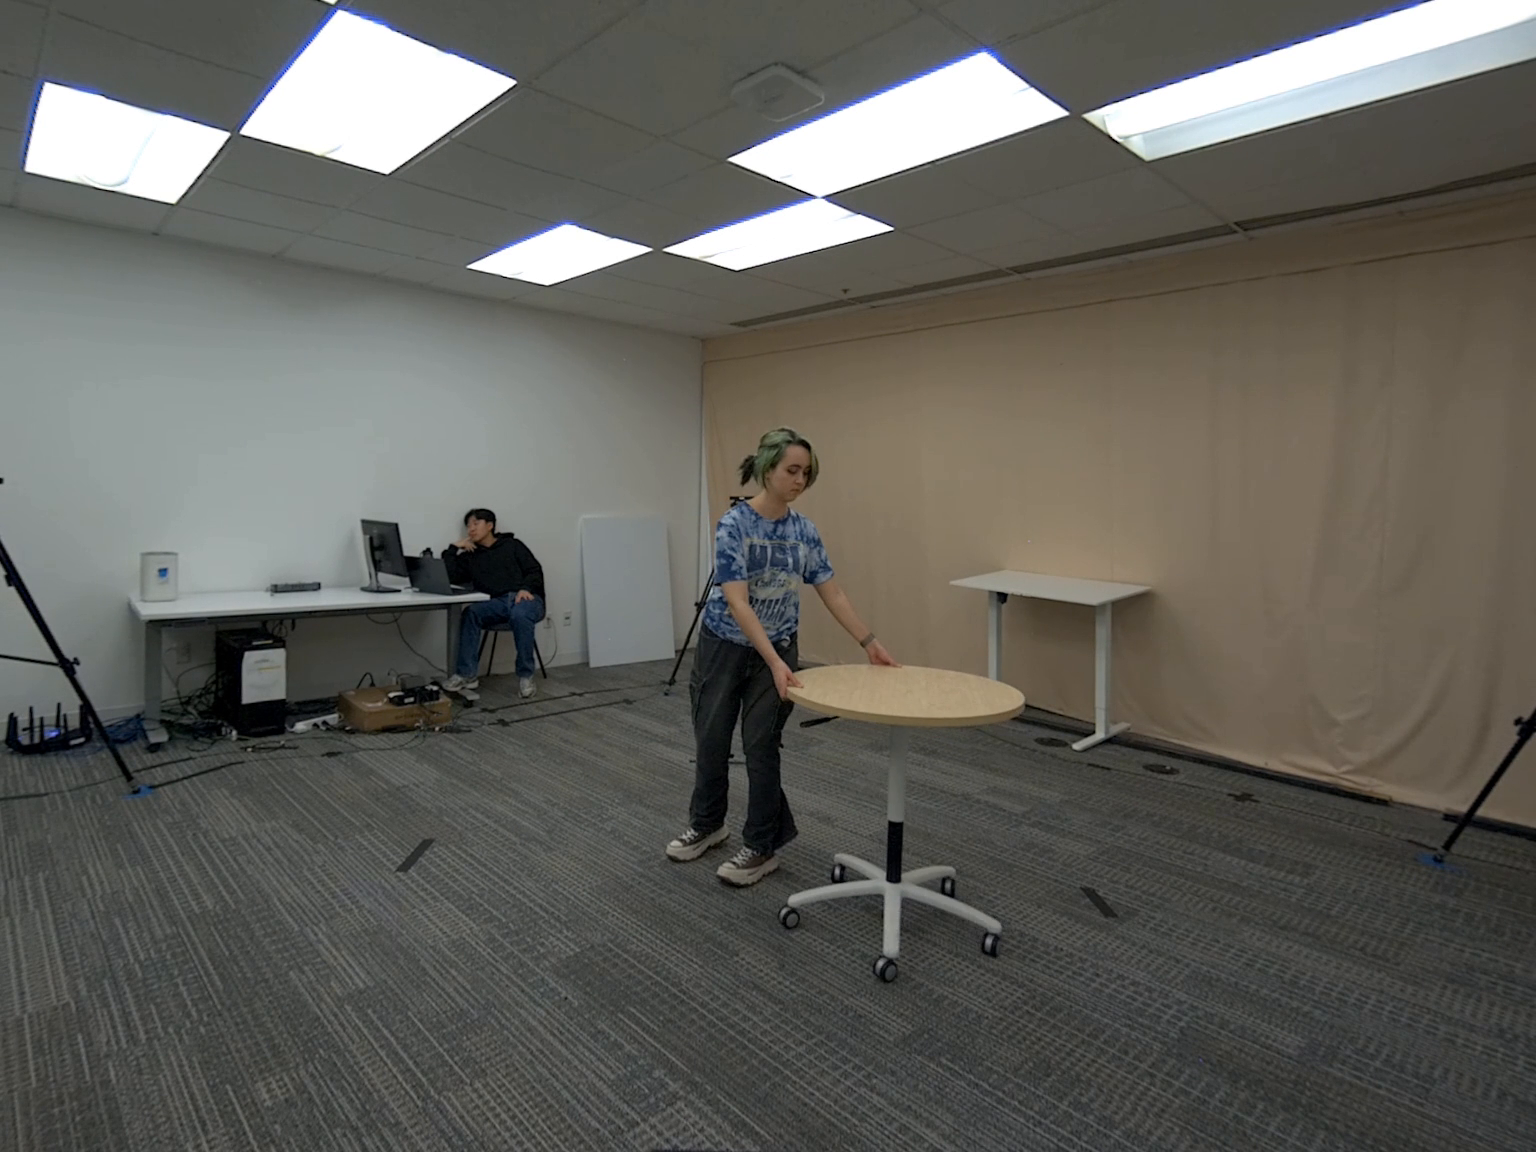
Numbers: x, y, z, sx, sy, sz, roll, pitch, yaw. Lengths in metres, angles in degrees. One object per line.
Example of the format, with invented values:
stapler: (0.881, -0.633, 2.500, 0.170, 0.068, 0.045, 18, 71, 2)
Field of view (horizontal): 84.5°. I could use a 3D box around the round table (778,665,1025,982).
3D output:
round table: (0.408, 0.756, 2.765, 0.763, 0.792, 0.767, 2, 4, -2)
